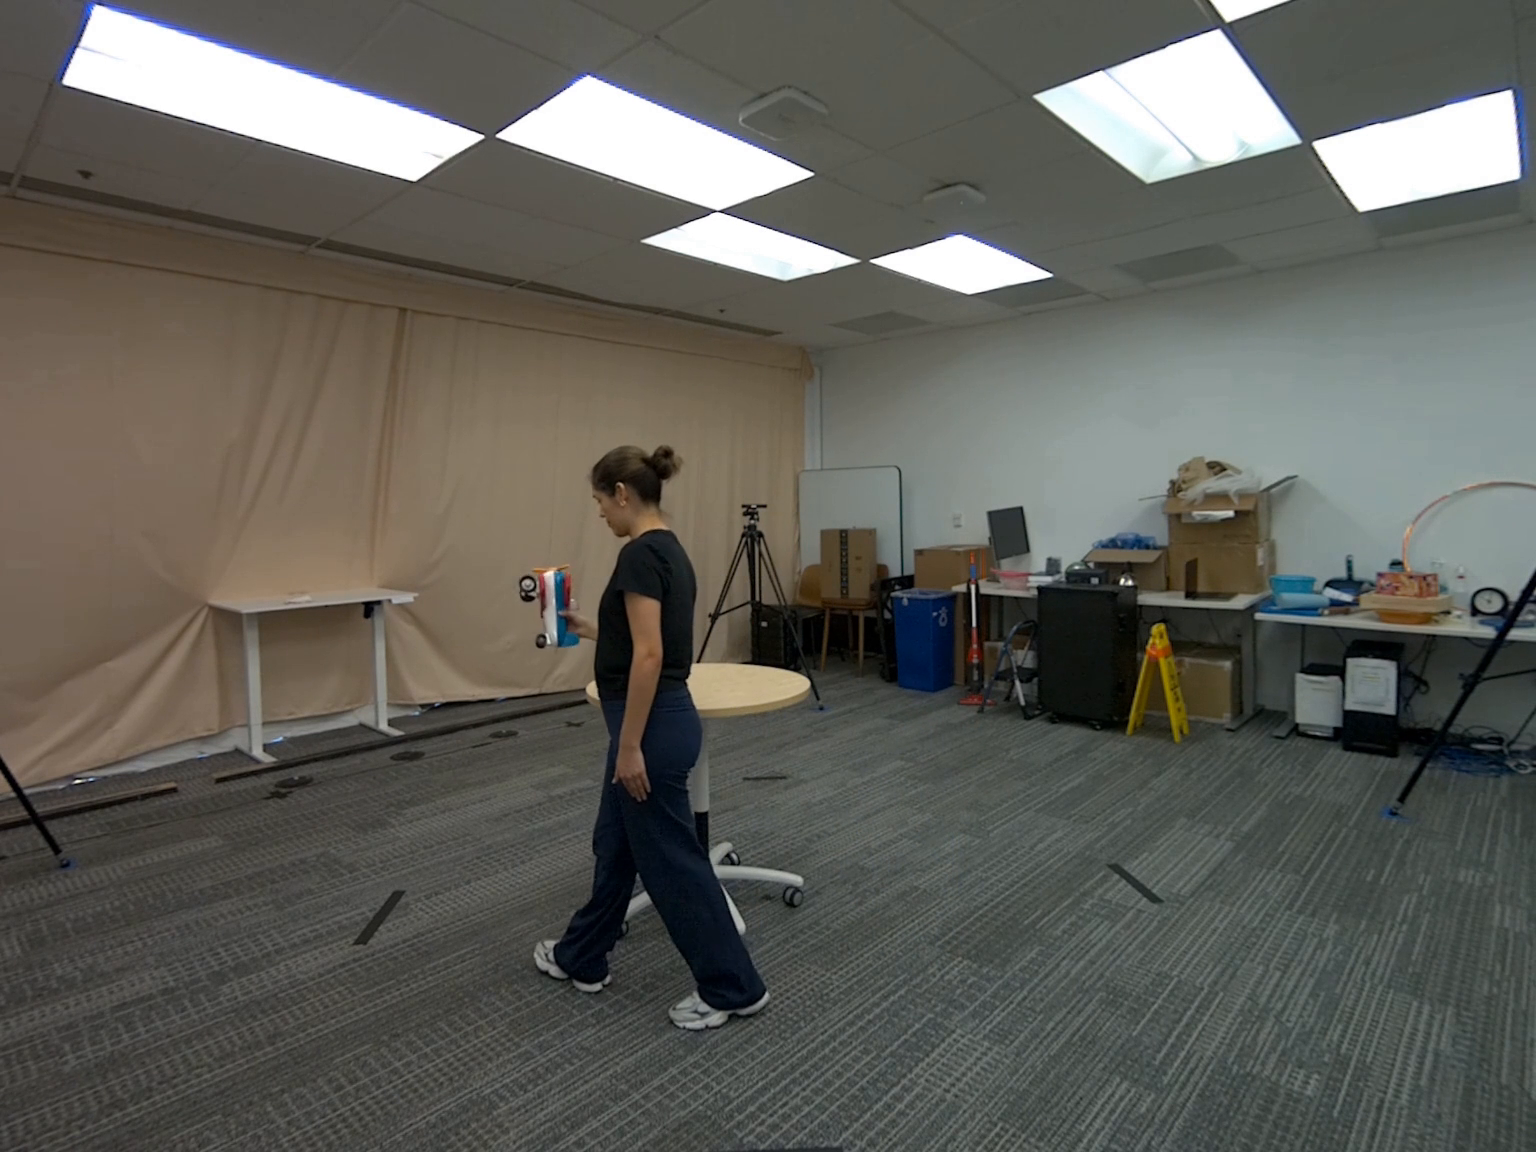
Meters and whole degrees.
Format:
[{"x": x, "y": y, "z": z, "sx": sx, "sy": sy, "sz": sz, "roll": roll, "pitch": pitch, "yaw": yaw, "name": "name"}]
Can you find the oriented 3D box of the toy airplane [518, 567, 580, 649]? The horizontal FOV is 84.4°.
[{"x": -0.651, "y": 0.101, "z": 2.630, "sx": 0.154, "sy": 0.257, "sz": 0.257, "roll": -16, "pitch": 11, "yaw": -20, "name": "toy airplane"}]
